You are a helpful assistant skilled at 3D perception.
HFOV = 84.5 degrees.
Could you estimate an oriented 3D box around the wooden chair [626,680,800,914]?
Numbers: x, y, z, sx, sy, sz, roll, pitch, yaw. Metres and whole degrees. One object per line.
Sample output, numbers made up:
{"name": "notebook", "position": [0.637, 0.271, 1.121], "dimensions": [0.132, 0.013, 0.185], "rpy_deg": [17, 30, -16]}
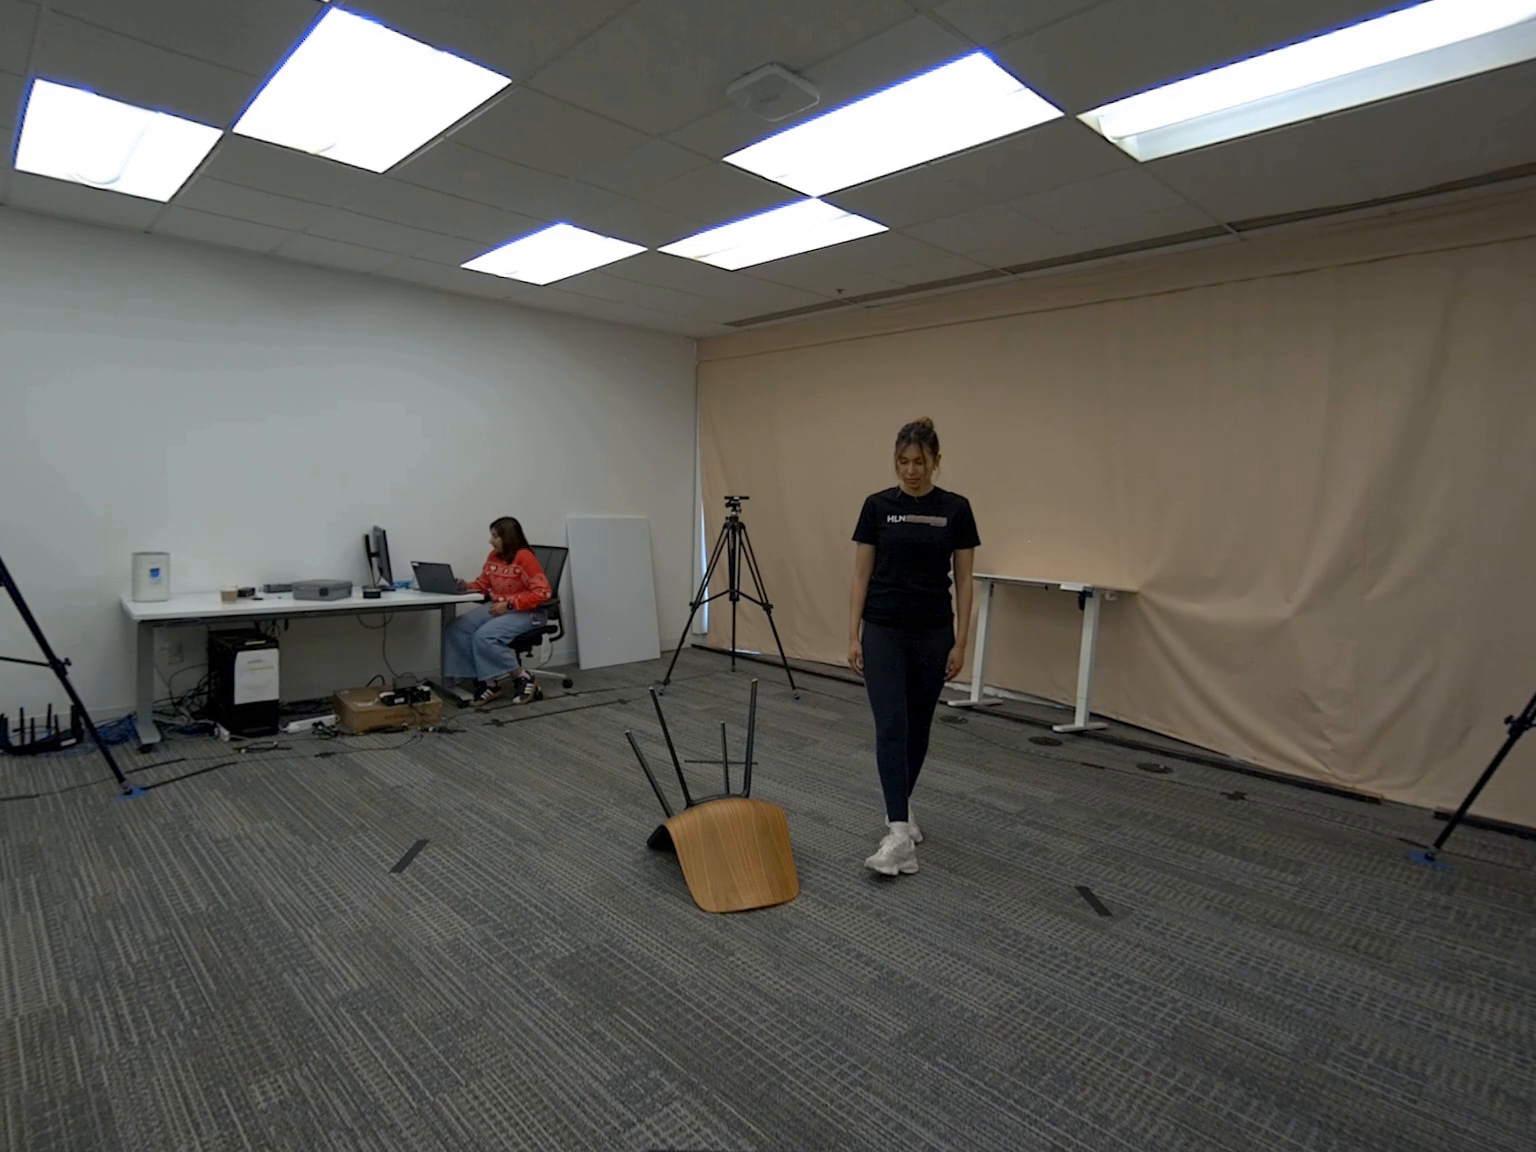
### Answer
{"name": "wooden chair", "position": [-0.228, 0.913, 3.273], "dimensions": [0.470, 0.900, 0.518], "rpy_deg": [-1, -36, -24]}
